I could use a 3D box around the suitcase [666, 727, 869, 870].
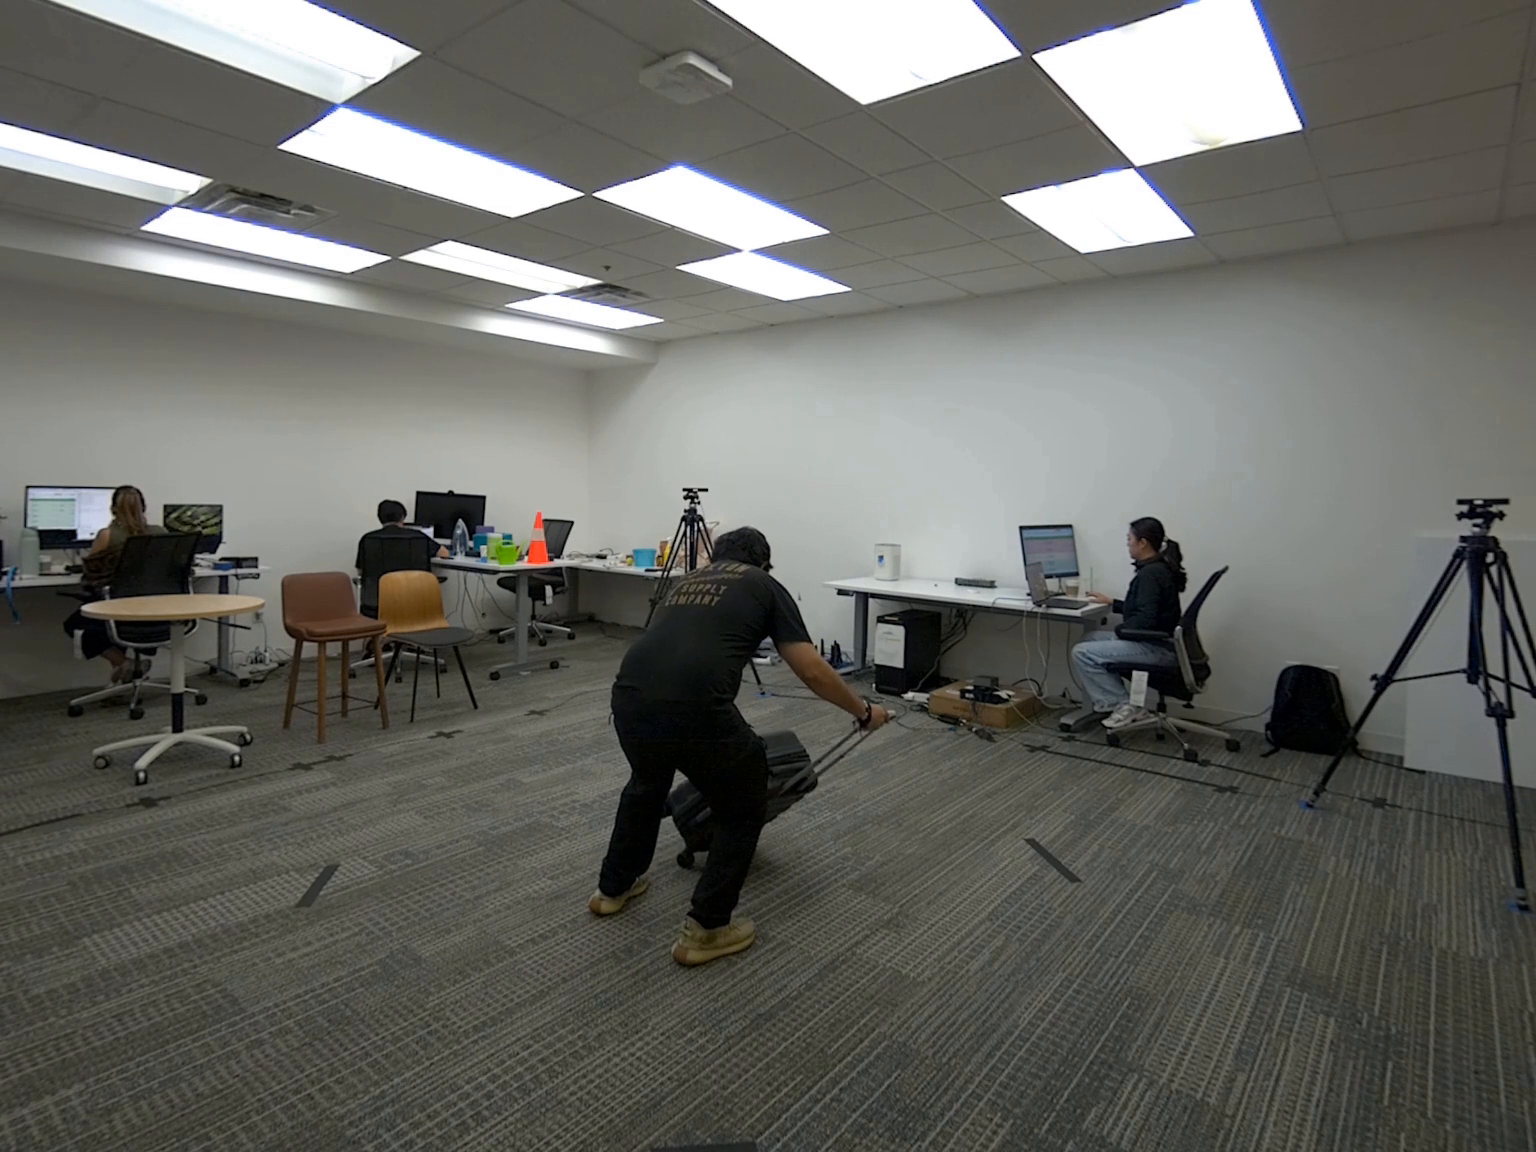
[{"bbox_3d":[0.011,0.673,3.062,0.371,0.266,0.978,4,-42,-48],"label":"suitcase"}]
